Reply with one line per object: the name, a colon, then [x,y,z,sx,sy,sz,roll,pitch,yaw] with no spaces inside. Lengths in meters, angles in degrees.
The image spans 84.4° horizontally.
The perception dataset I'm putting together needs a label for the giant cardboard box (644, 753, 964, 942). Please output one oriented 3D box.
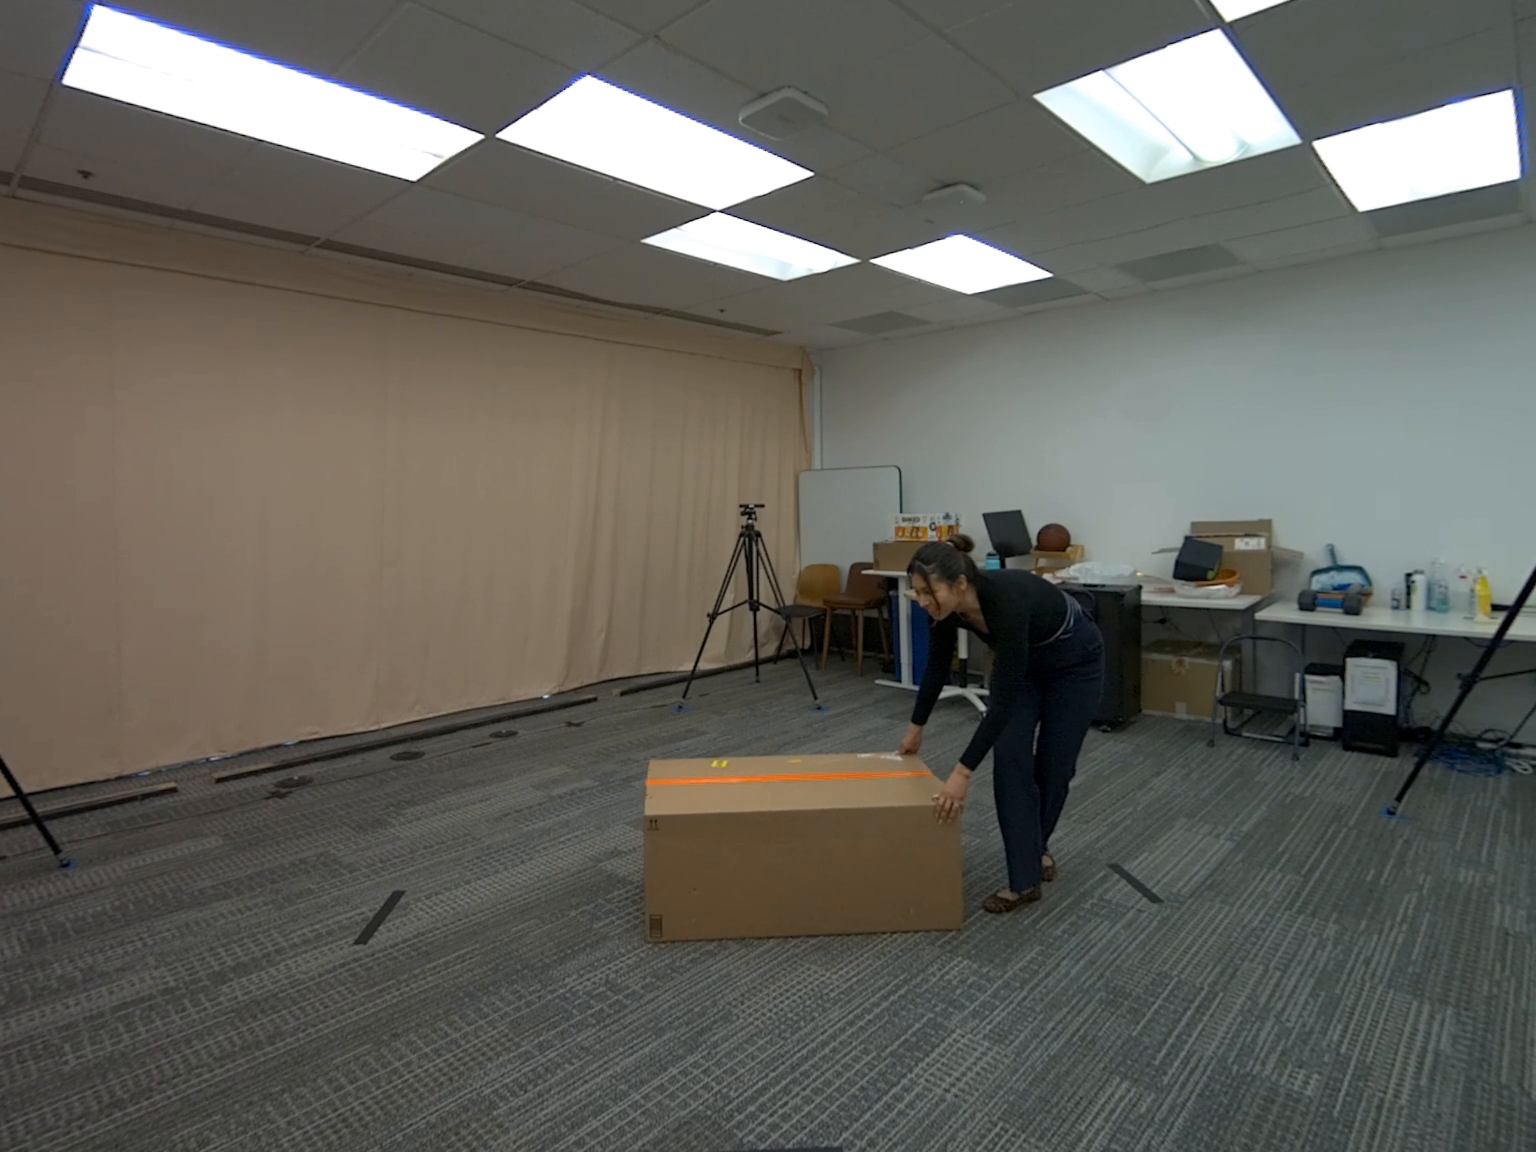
giant cardboard box: [0.090,0.923,2.966,1.022,0.425,0.581,-1,4,-4]
